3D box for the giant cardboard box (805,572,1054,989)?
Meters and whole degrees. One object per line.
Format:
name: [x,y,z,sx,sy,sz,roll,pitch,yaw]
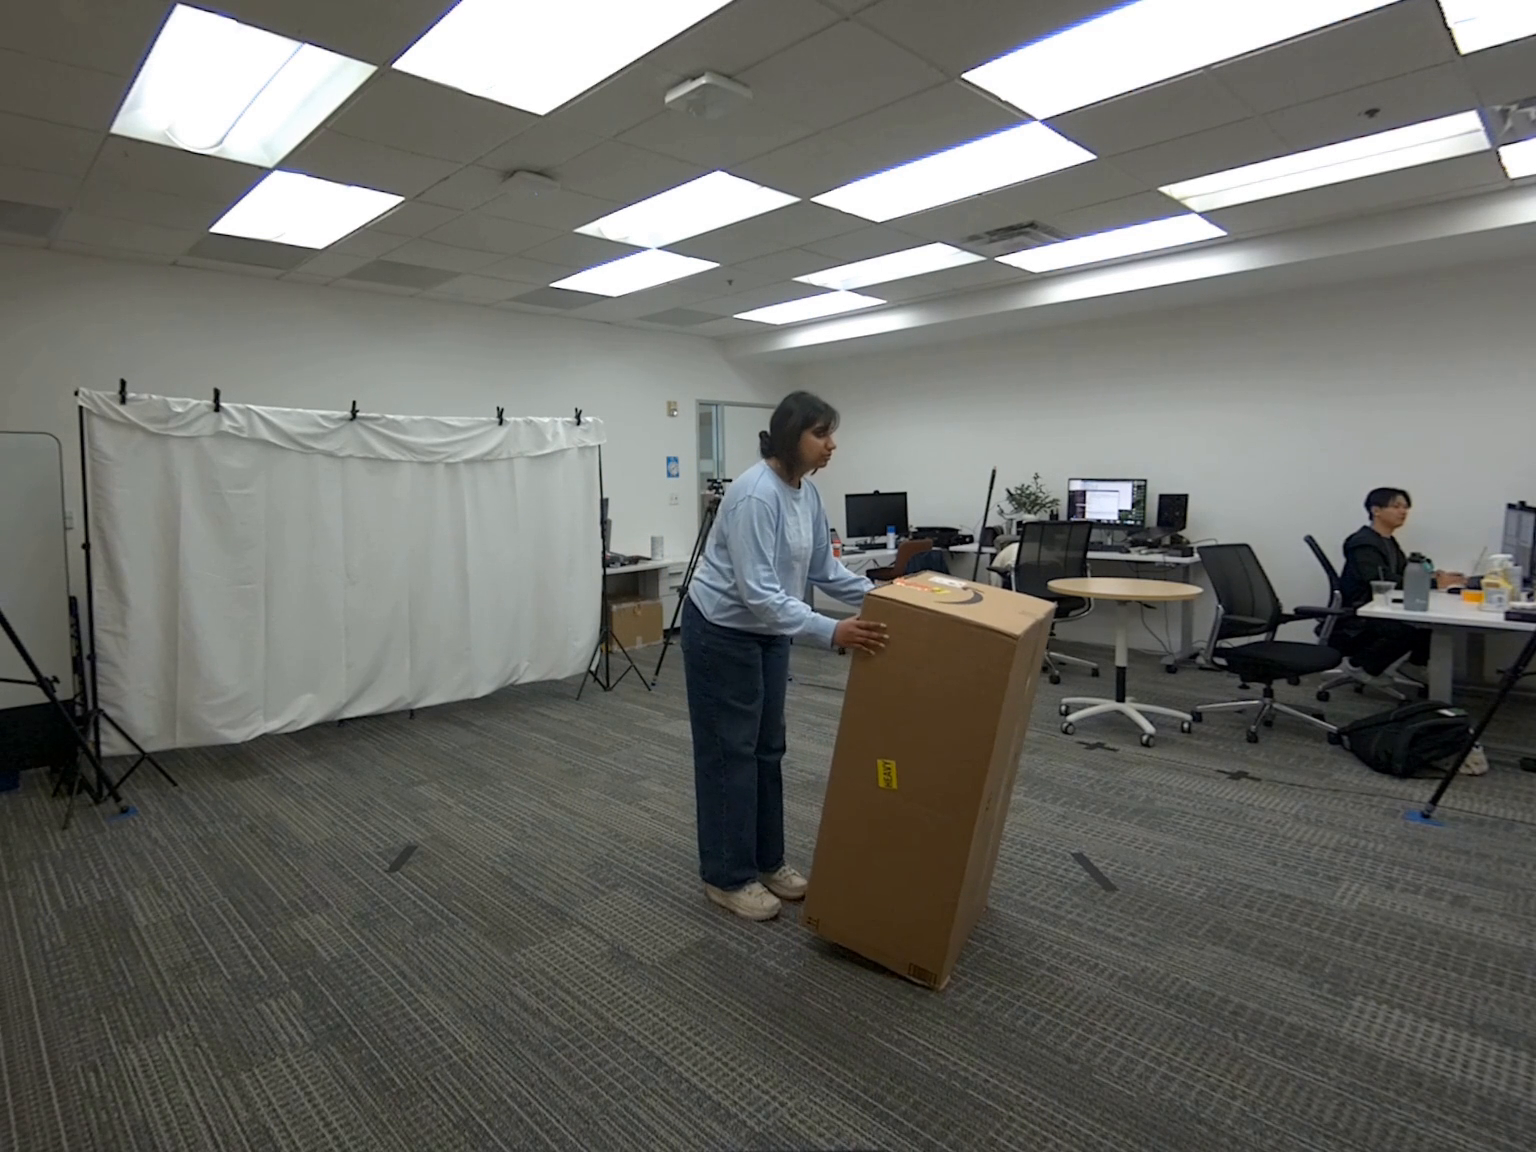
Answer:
giant cardboard box: [0.498,0.560,2.567,0.460,1.019,0.571,15,12,28]
